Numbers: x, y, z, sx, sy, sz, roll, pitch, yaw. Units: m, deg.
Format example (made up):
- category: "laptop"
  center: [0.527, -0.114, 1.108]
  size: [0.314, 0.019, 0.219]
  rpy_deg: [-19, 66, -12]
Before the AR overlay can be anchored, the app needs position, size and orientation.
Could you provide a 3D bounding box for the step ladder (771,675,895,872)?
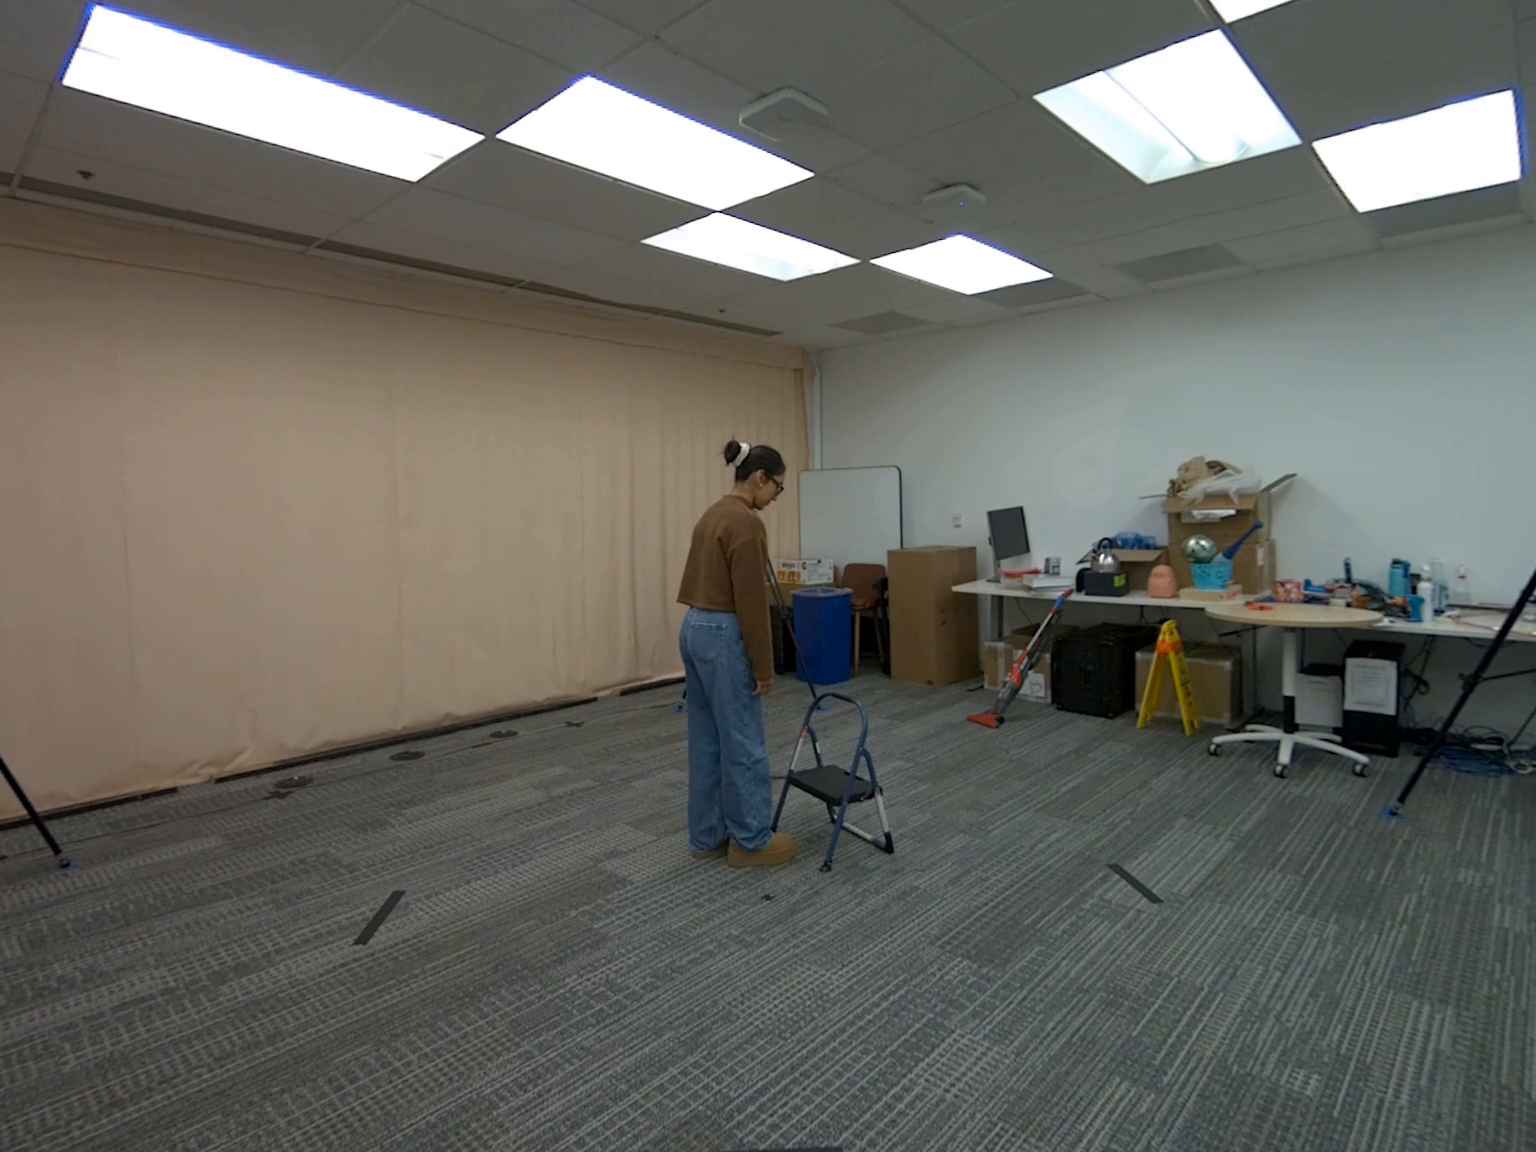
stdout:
- category: "step ladder"
  center: [0.250, 0.794, 3.428]
  size: [0.340, 0.605, 0.443]
  rpy_deg: [-3, 4, -30]
